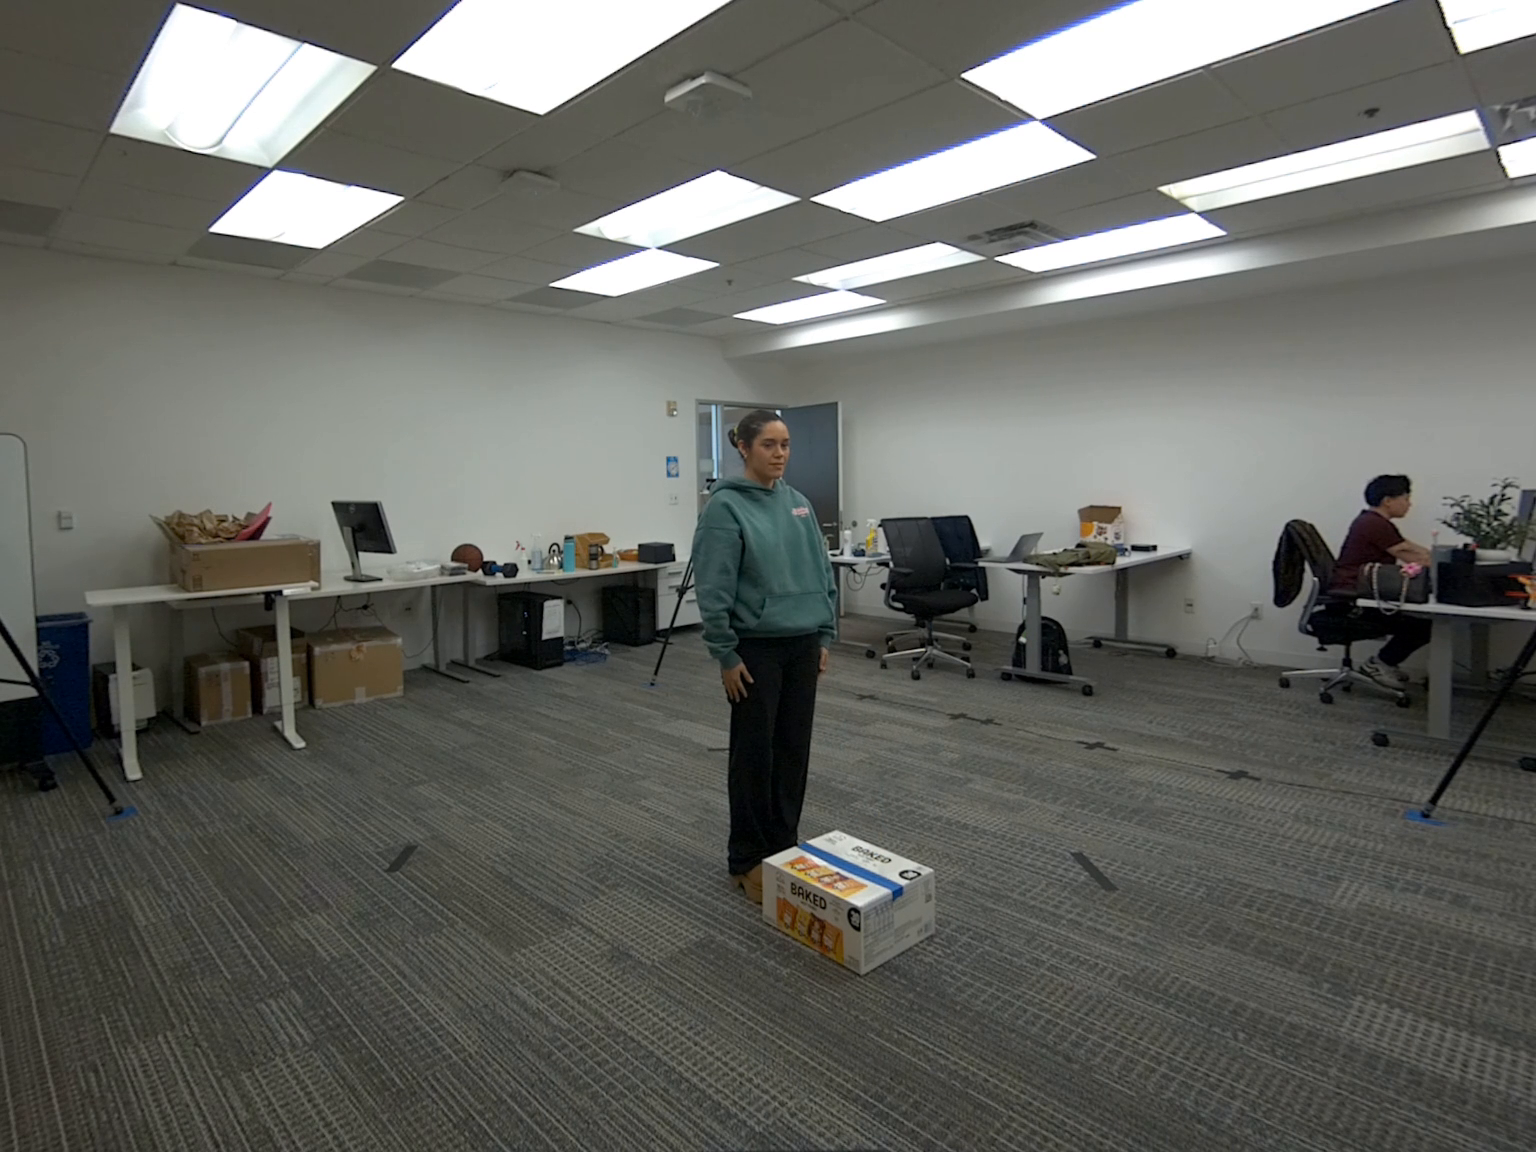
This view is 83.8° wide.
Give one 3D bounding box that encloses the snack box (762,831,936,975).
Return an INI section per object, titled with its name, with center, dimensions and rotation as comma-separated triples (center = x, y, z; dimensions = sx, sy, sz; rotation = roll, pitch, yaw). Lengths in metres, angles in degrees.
[snack box]
center = 0.252, 0.994, 2.634
dimensions = 0.331, 0.205, 0.418
rotation = -7, 8, -41
